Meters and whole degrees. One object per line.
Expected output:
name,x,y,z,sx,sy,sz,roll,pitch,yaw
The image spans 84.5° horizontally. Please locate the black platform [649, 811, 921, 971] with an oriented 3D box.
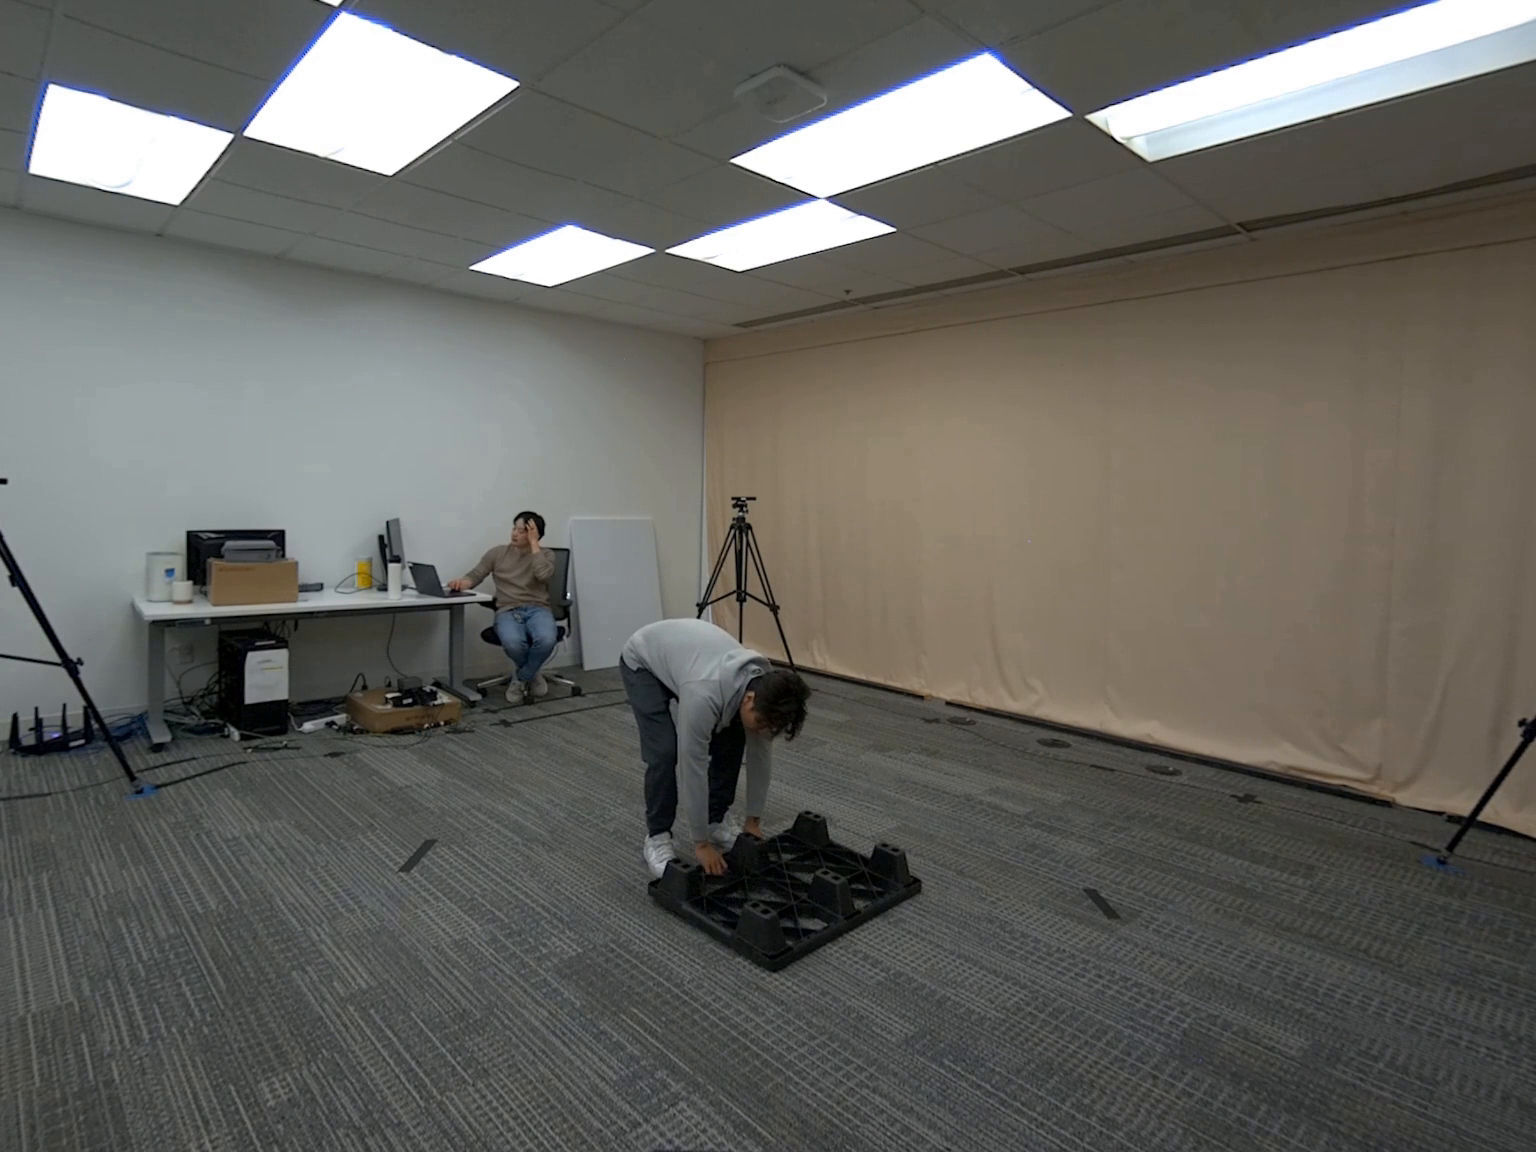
black platform,0.066,1.047,2.943,0.621,0.143,0.787,9,9,43
